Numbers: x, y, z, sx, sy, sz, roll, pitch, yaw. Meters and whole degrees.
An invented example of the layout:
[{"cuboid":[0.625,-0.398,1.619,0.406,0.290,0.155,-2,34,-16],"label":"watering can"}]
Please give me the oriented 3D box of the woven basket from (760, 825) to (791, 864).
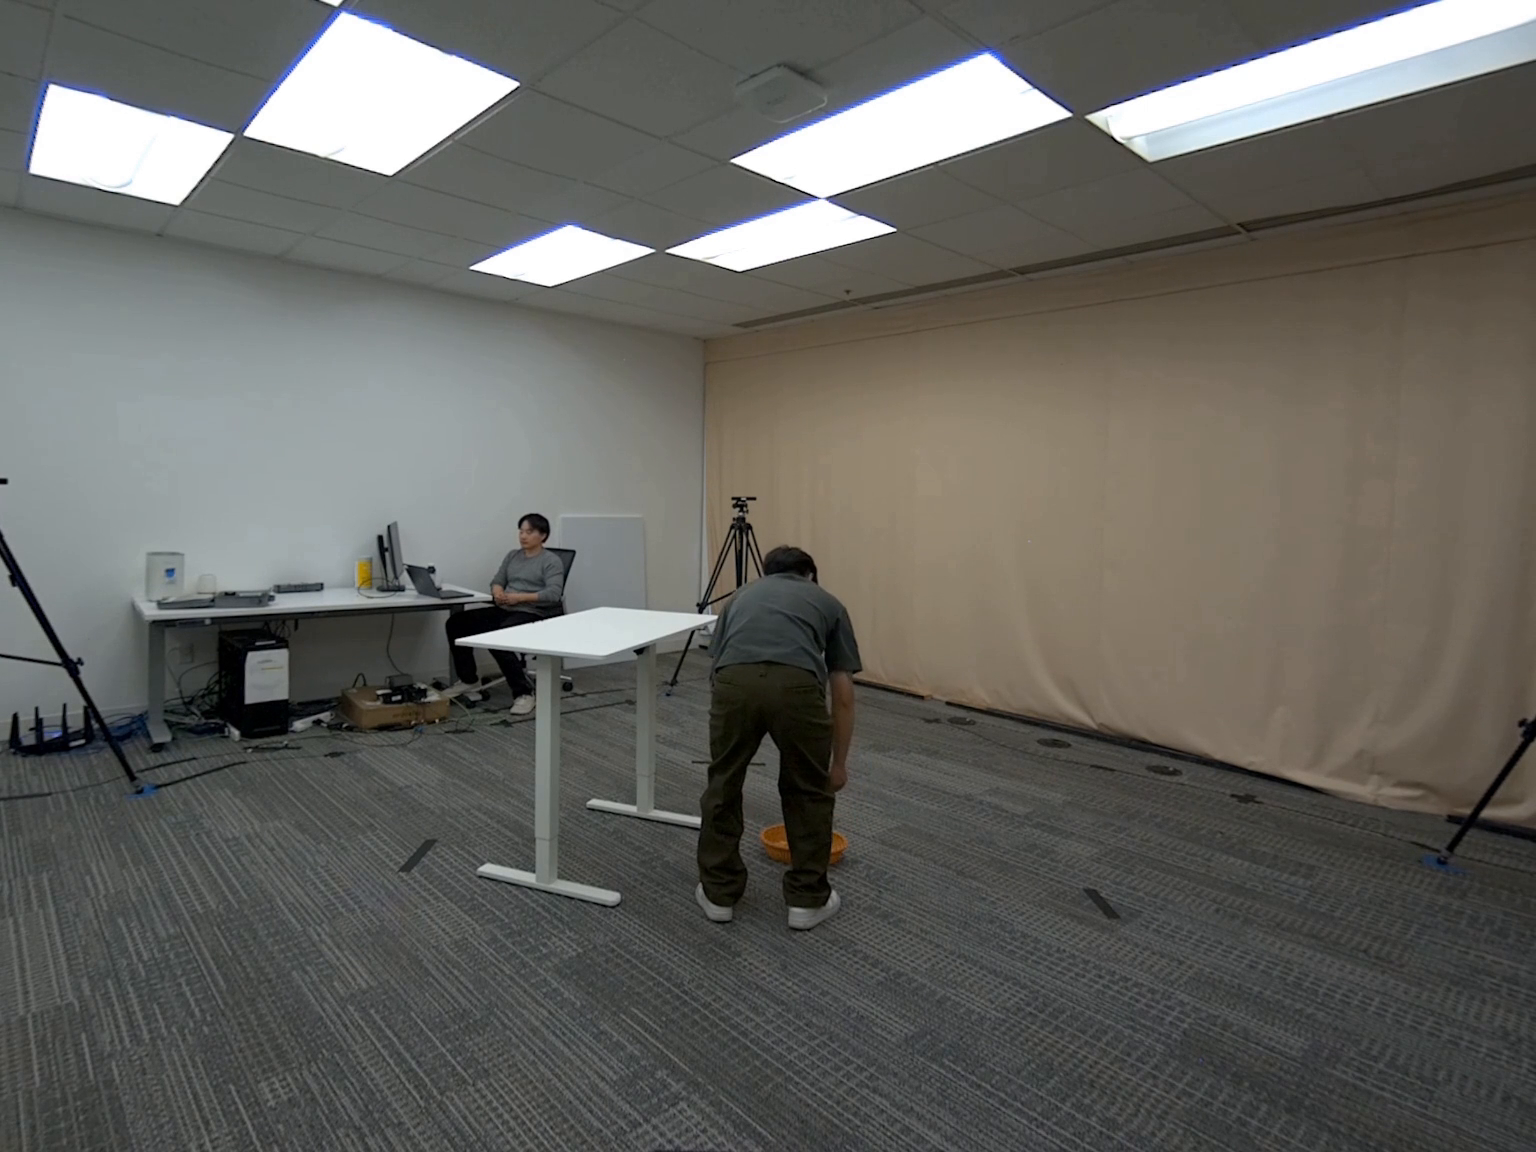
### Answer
[{"cuboid":[0.131,1.059,3.303,0.356,0.073,0.249,3,5,19],"label":"woven basket"}]
